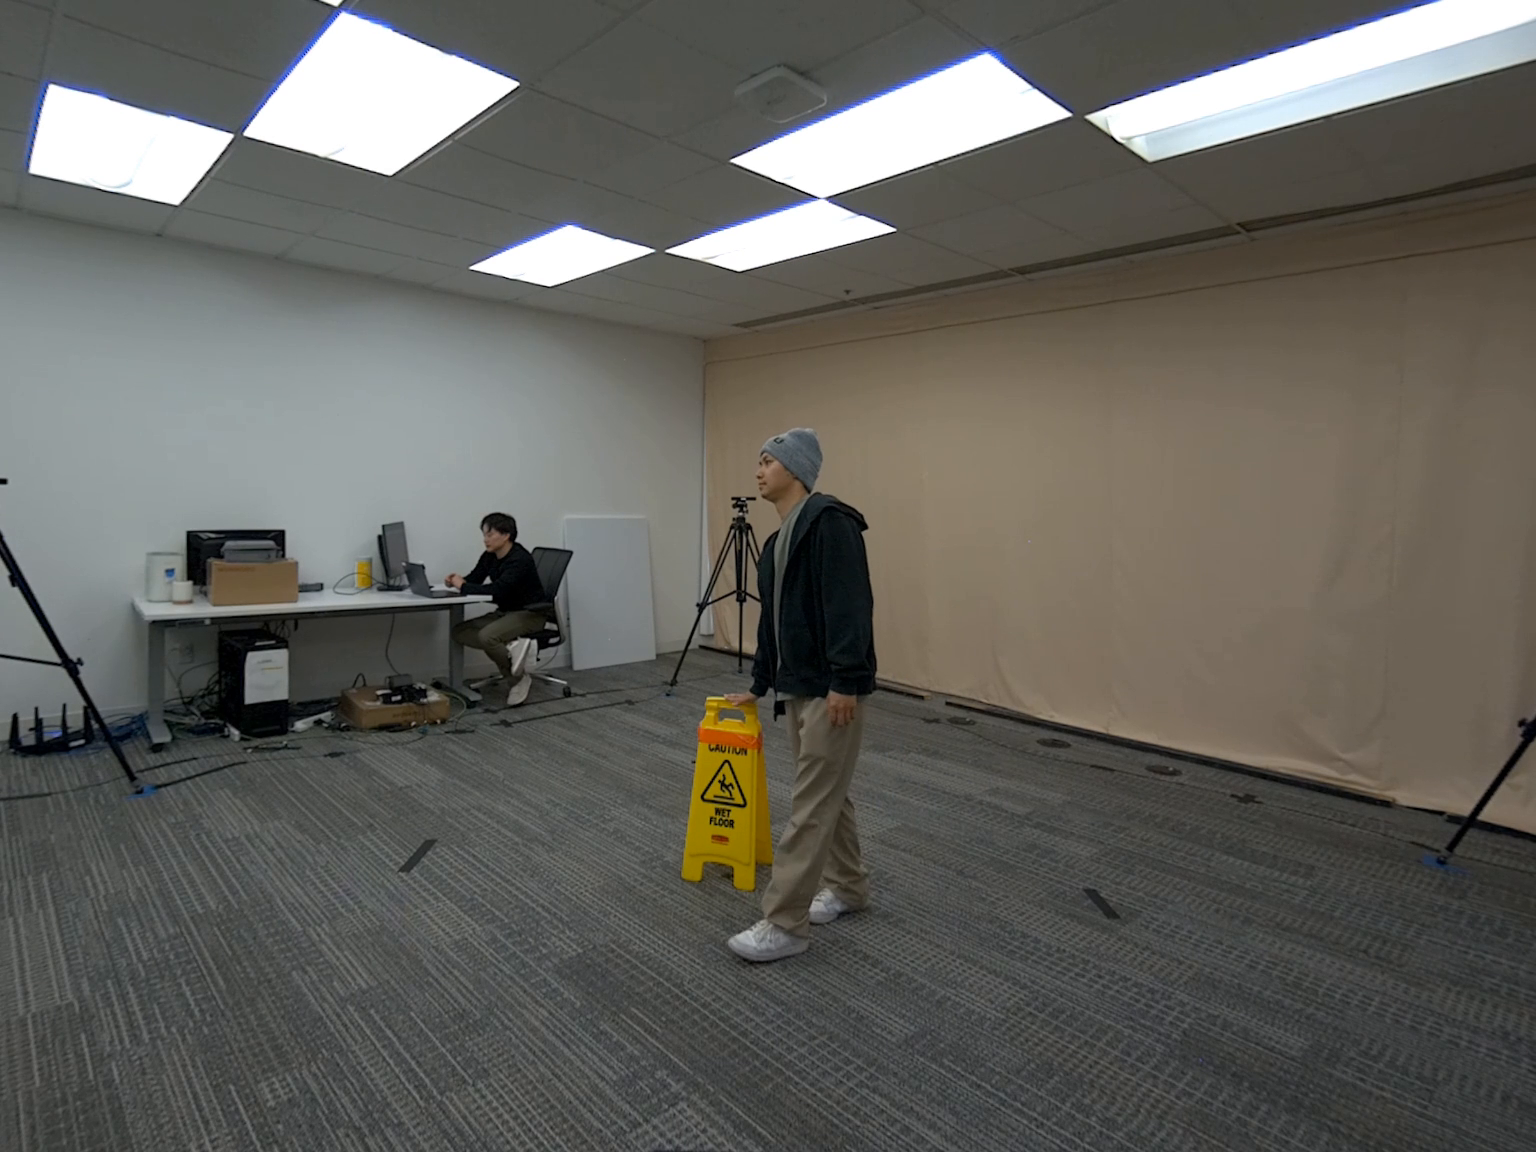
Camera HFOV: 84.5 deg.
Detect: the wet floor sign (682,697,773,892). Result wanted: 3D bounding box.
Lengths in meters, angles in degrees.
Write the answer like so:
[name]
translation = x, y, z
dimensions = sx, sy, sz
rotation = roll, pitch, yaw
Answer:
[wet floor sign]
translation = -0.146, 0.780, 3.135
dimensions = 0.286, 0.644, 0.286
rotation = 4, 3, 17
